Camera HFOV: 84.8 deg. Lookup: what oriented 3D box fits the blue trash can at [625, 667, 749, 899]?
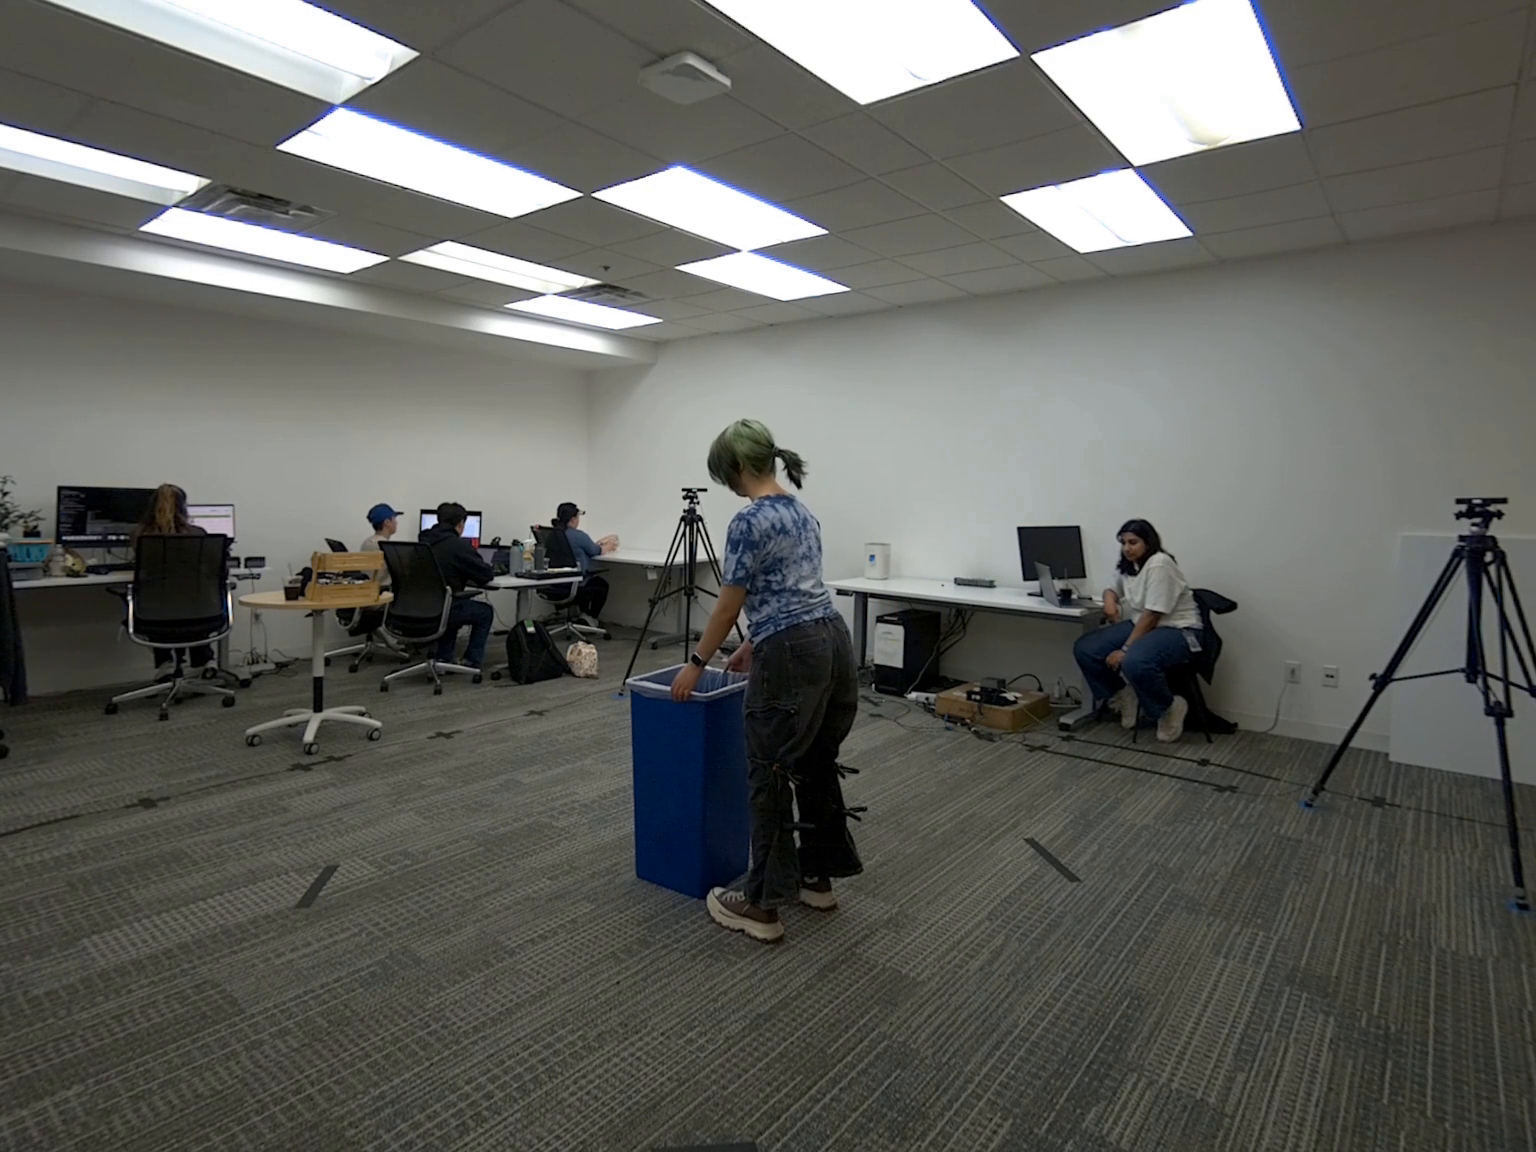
[{"bbox_3d":[-0.280,0.715,3.054,0.390,0.712,0.363,3,3,33],"label":"blue trash can"}]
